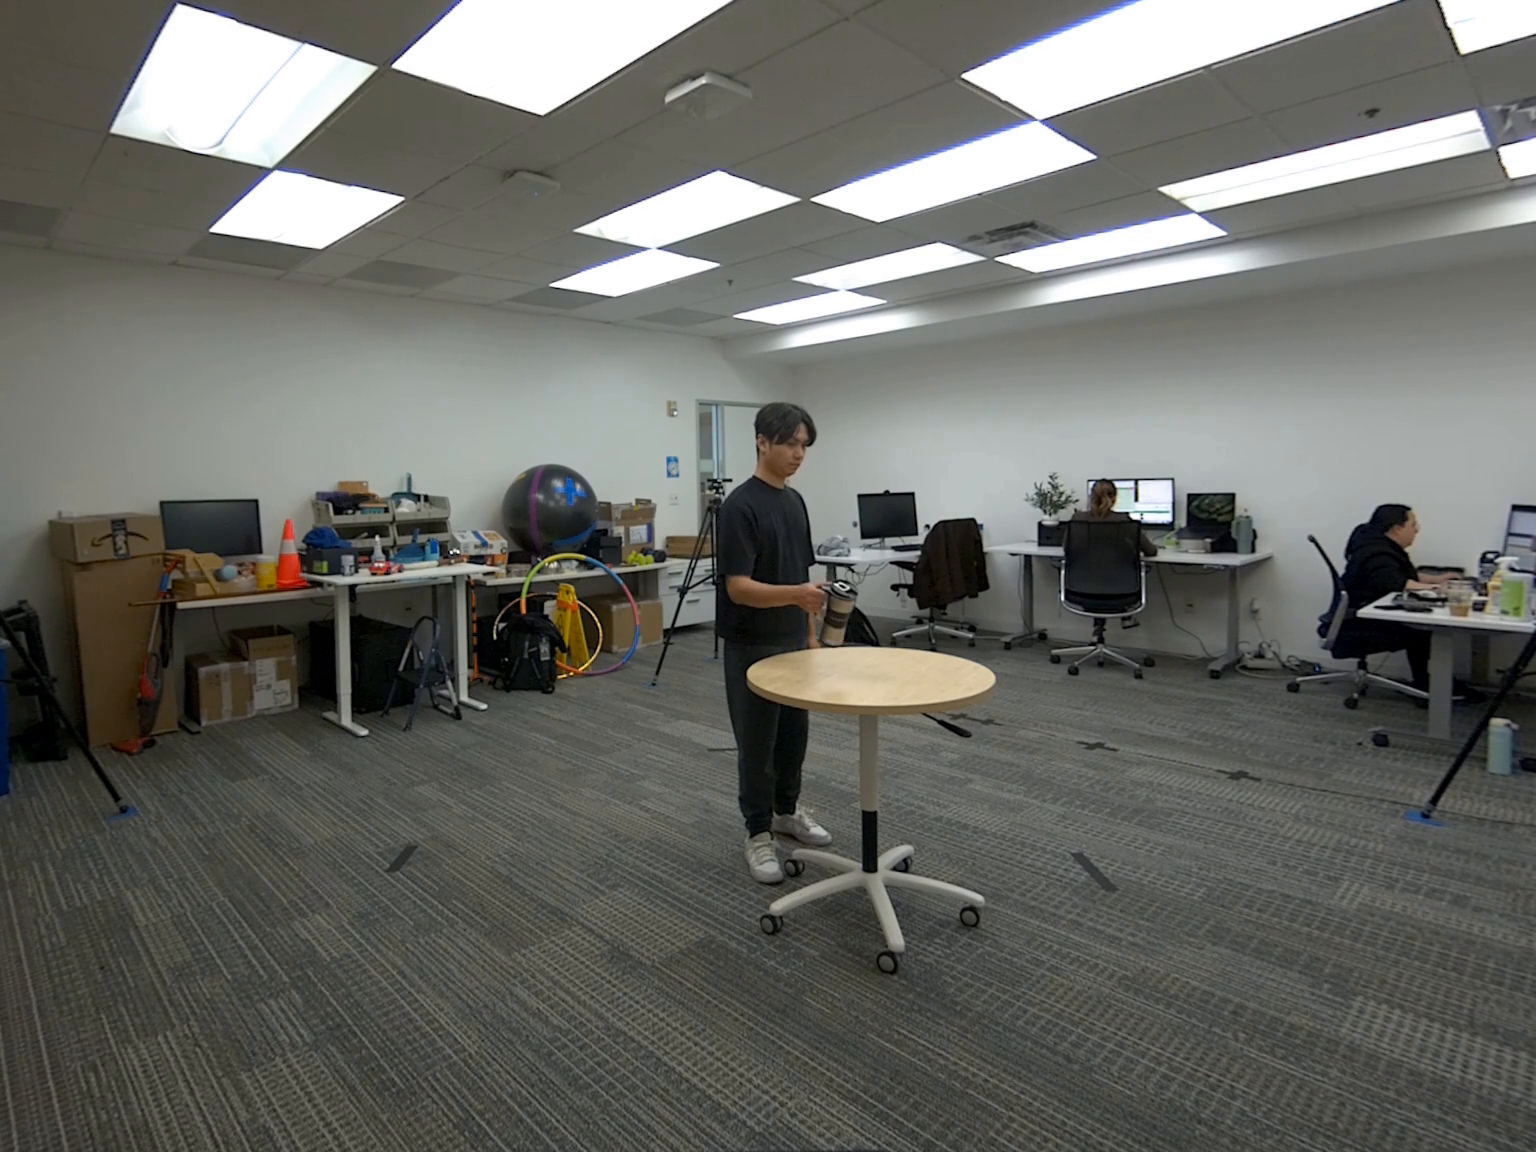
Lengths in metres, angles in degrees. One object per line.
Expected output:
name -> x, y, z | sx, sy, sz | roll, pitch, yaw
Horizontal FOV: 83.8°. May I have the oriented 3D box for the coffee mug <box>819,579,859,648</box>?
coffee mug -> 0.199, 0.113, 2.650 | 0.126, 0.199, 0.086 | 29, 32, 31
